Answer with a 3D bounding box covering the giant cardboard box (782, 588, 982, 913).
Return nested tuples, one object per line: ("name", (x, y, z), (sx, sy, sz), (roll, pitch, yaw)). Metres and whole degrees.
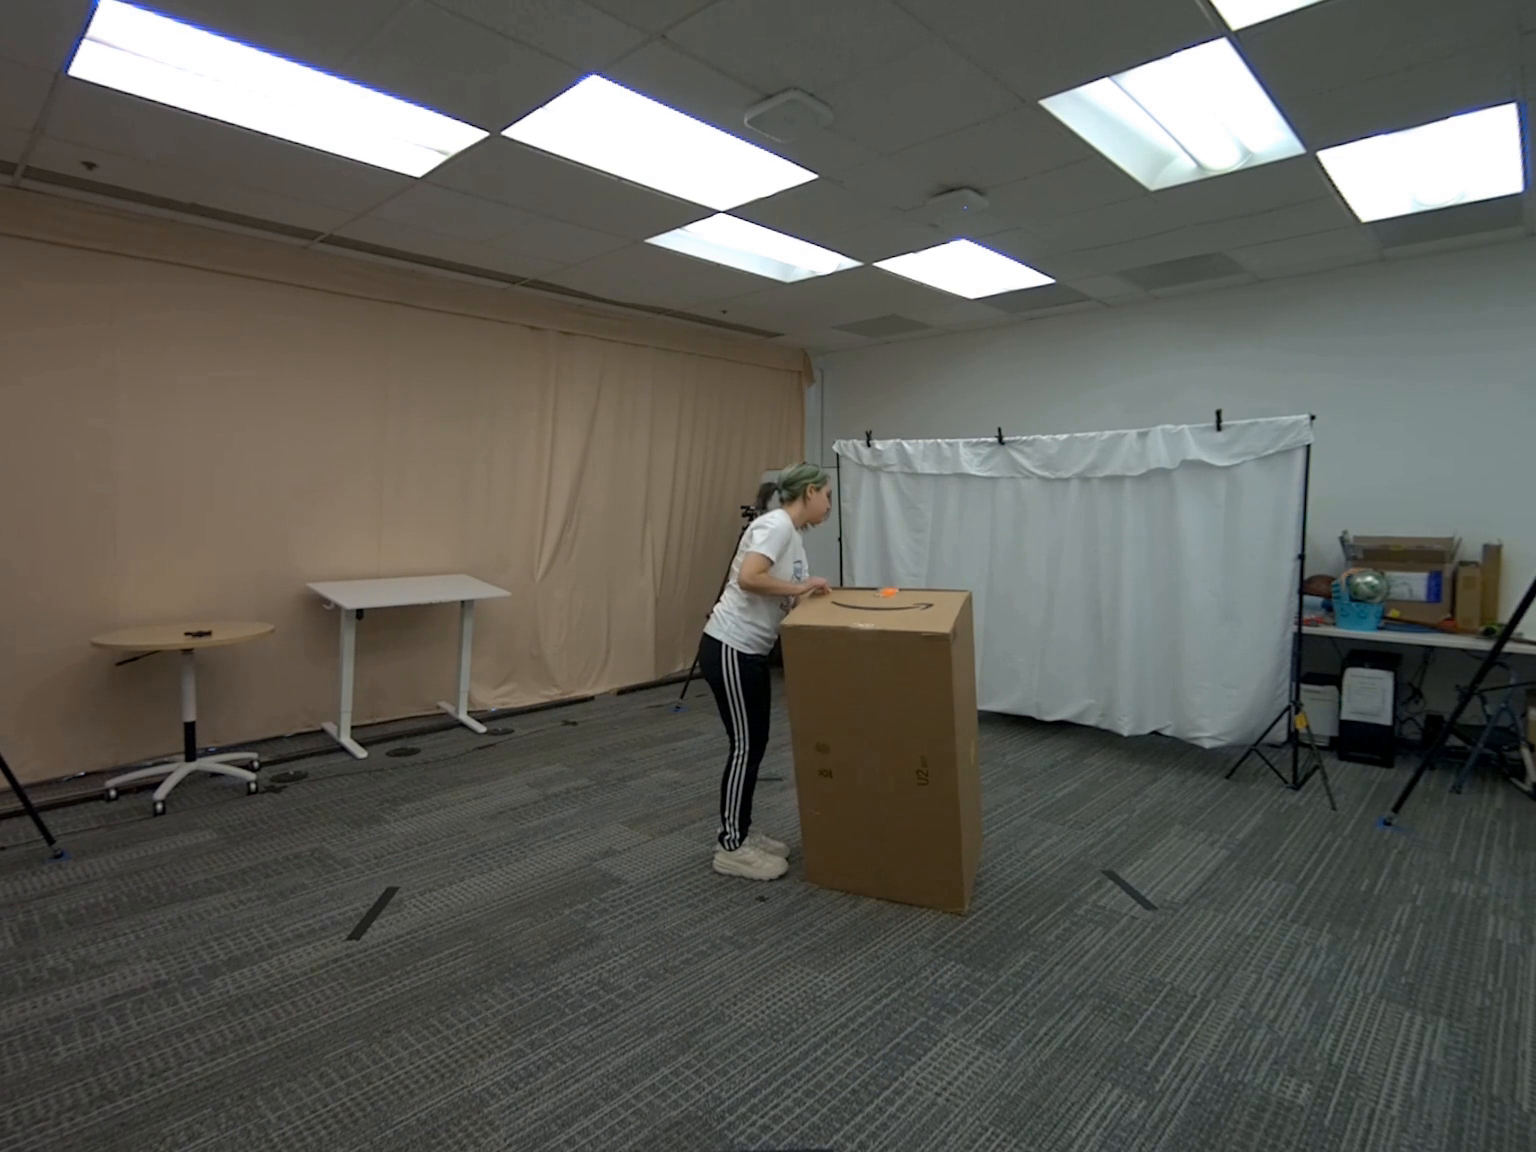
("giant cardboard box", (0.435, 0.600, 3.030), (0.592, 1.015, 0.420), (1, 16, 25))
